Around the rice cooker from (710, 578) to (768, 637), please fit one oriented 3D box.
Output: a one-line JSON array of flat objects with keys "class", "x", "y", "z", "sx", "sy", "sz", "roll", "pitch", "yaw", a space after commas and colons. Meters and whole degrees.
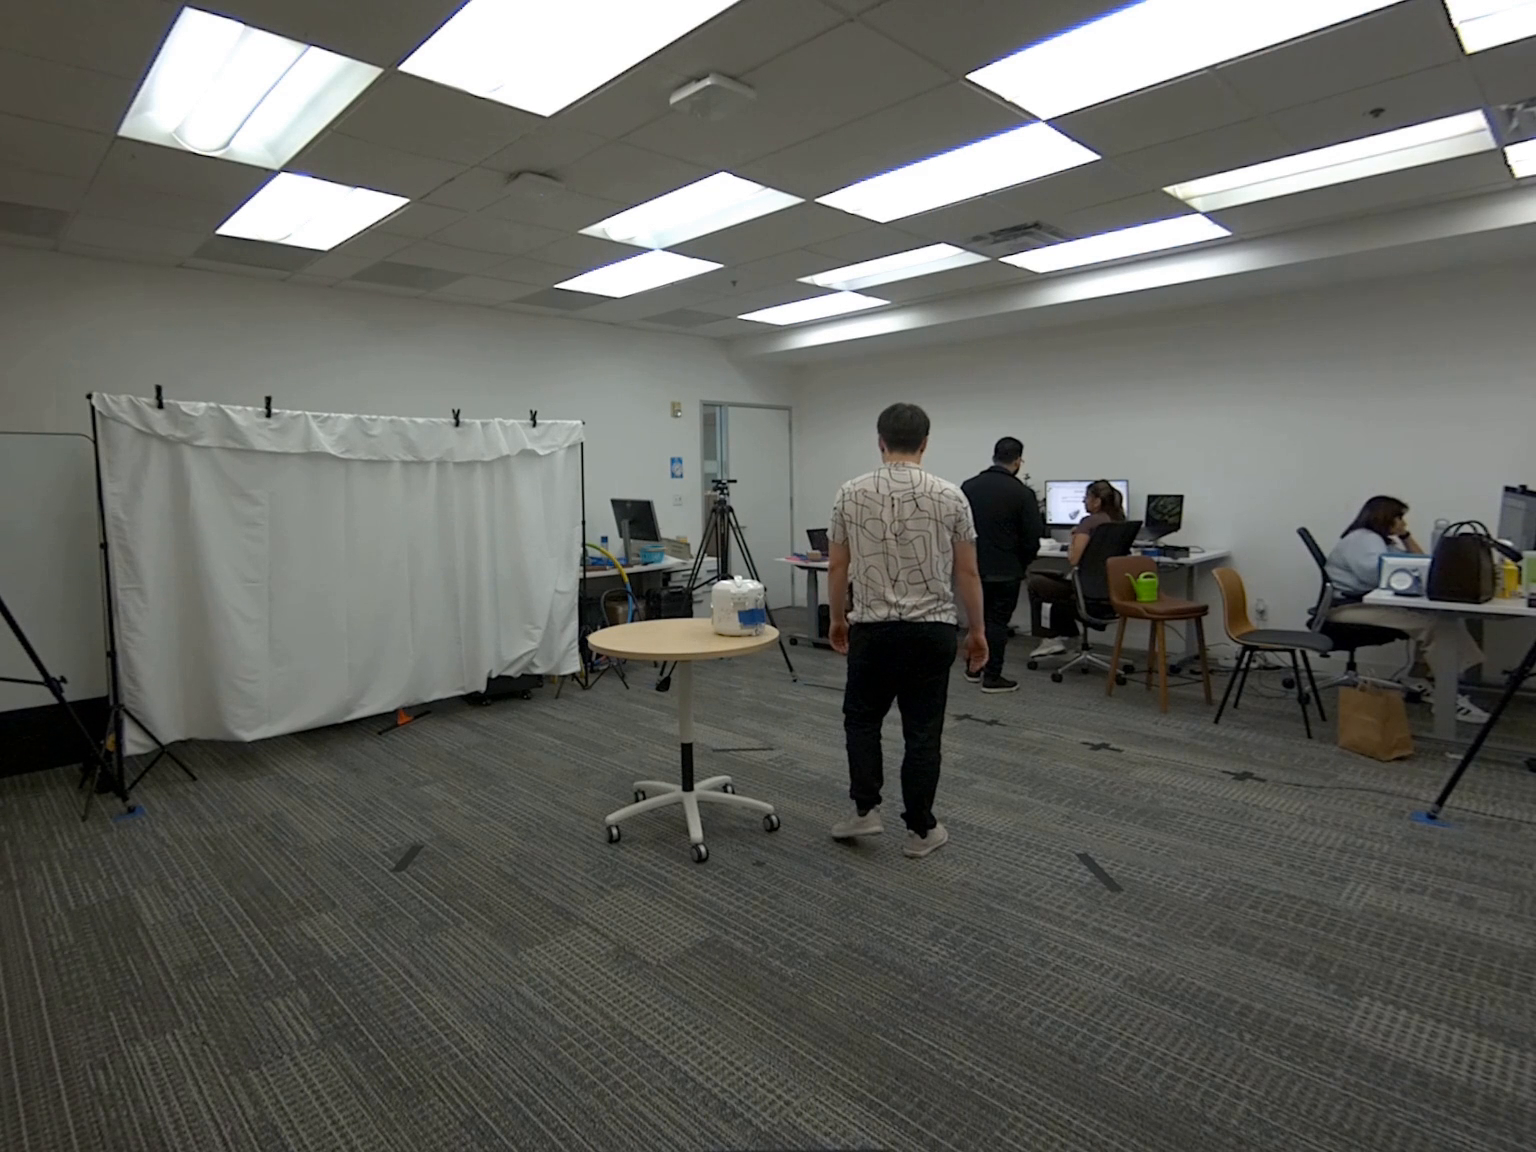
[{"class": "rice cooker", "x": -0.120, "y": 0.111, "z": 3.425, "sx": 0.217, "sy": 0.232, "sz": 0.222, "roll": -2, "pitch": 5, "yaw": -1}]
